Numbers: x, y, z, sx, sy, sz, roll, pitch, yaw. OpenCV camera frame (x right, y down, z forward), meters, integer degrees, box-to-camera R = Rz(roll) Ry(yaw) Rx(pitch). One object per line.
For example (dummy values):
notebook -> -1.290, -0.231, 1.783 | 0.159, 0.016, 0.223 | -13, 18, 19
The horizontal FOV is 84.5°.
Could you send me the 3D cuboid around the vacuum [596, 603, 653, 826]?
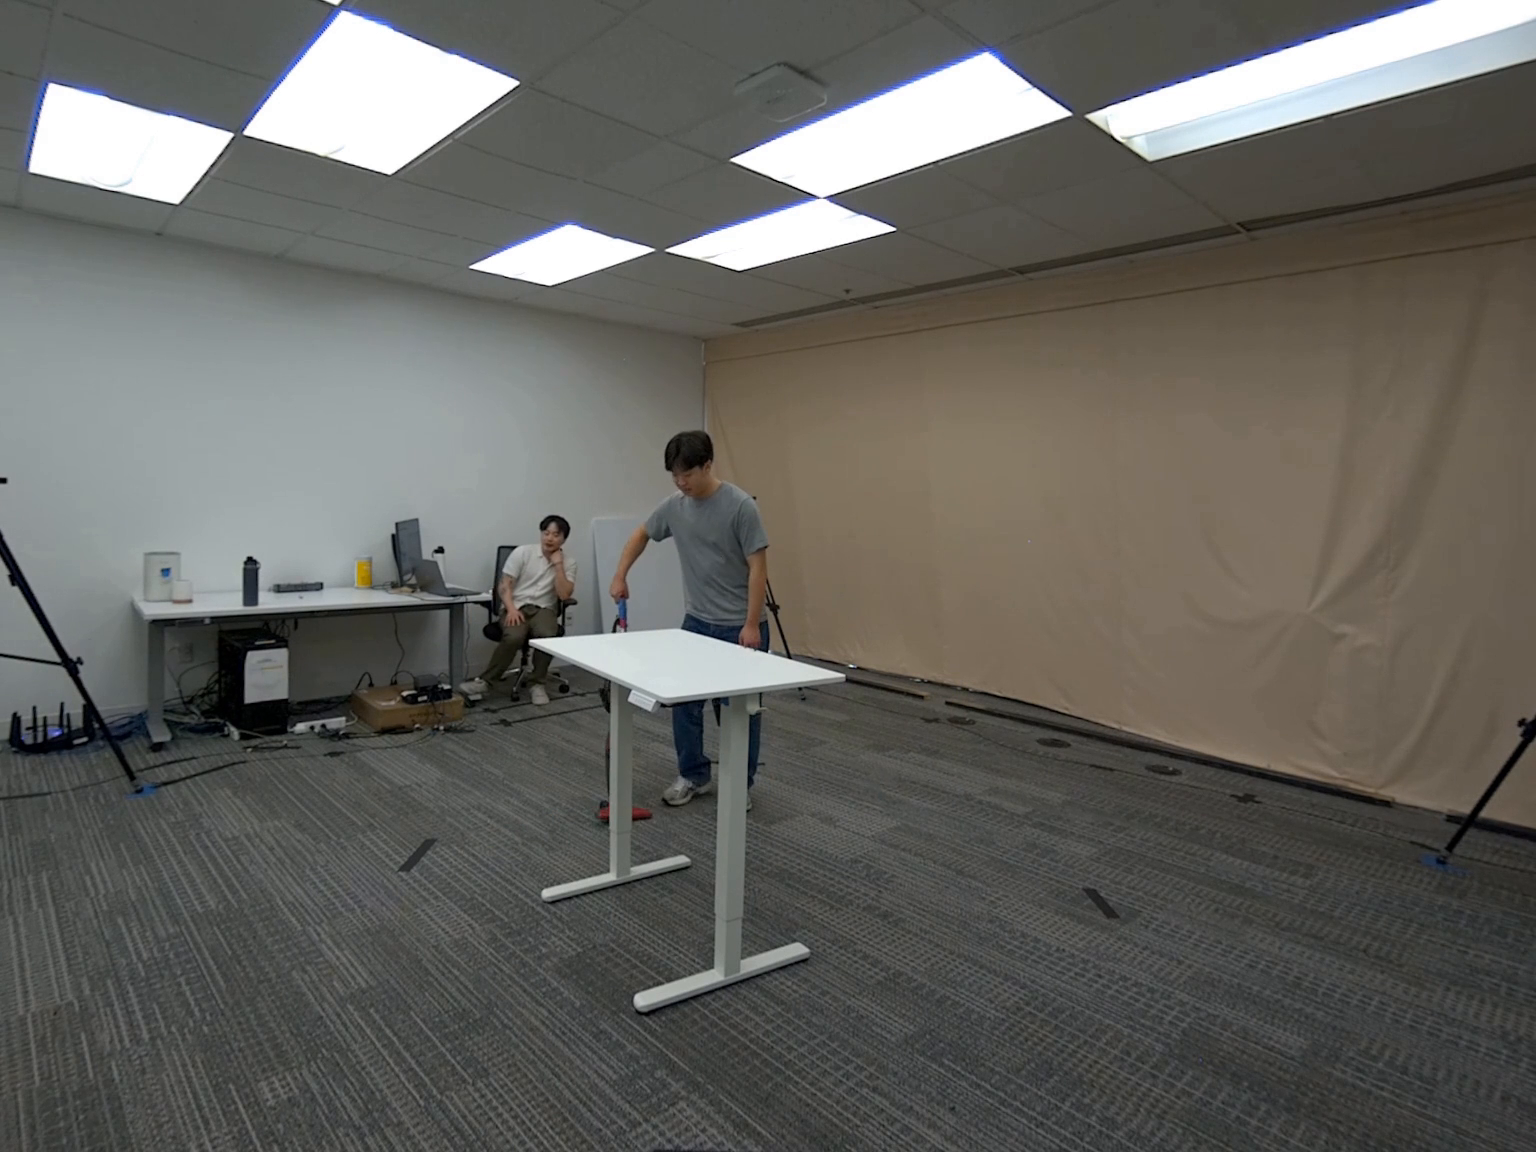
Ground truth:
vacuum -> -0.686, 0.552, 3.813 | 0.247, 1.065, 0.145 | 8, -24, -31
